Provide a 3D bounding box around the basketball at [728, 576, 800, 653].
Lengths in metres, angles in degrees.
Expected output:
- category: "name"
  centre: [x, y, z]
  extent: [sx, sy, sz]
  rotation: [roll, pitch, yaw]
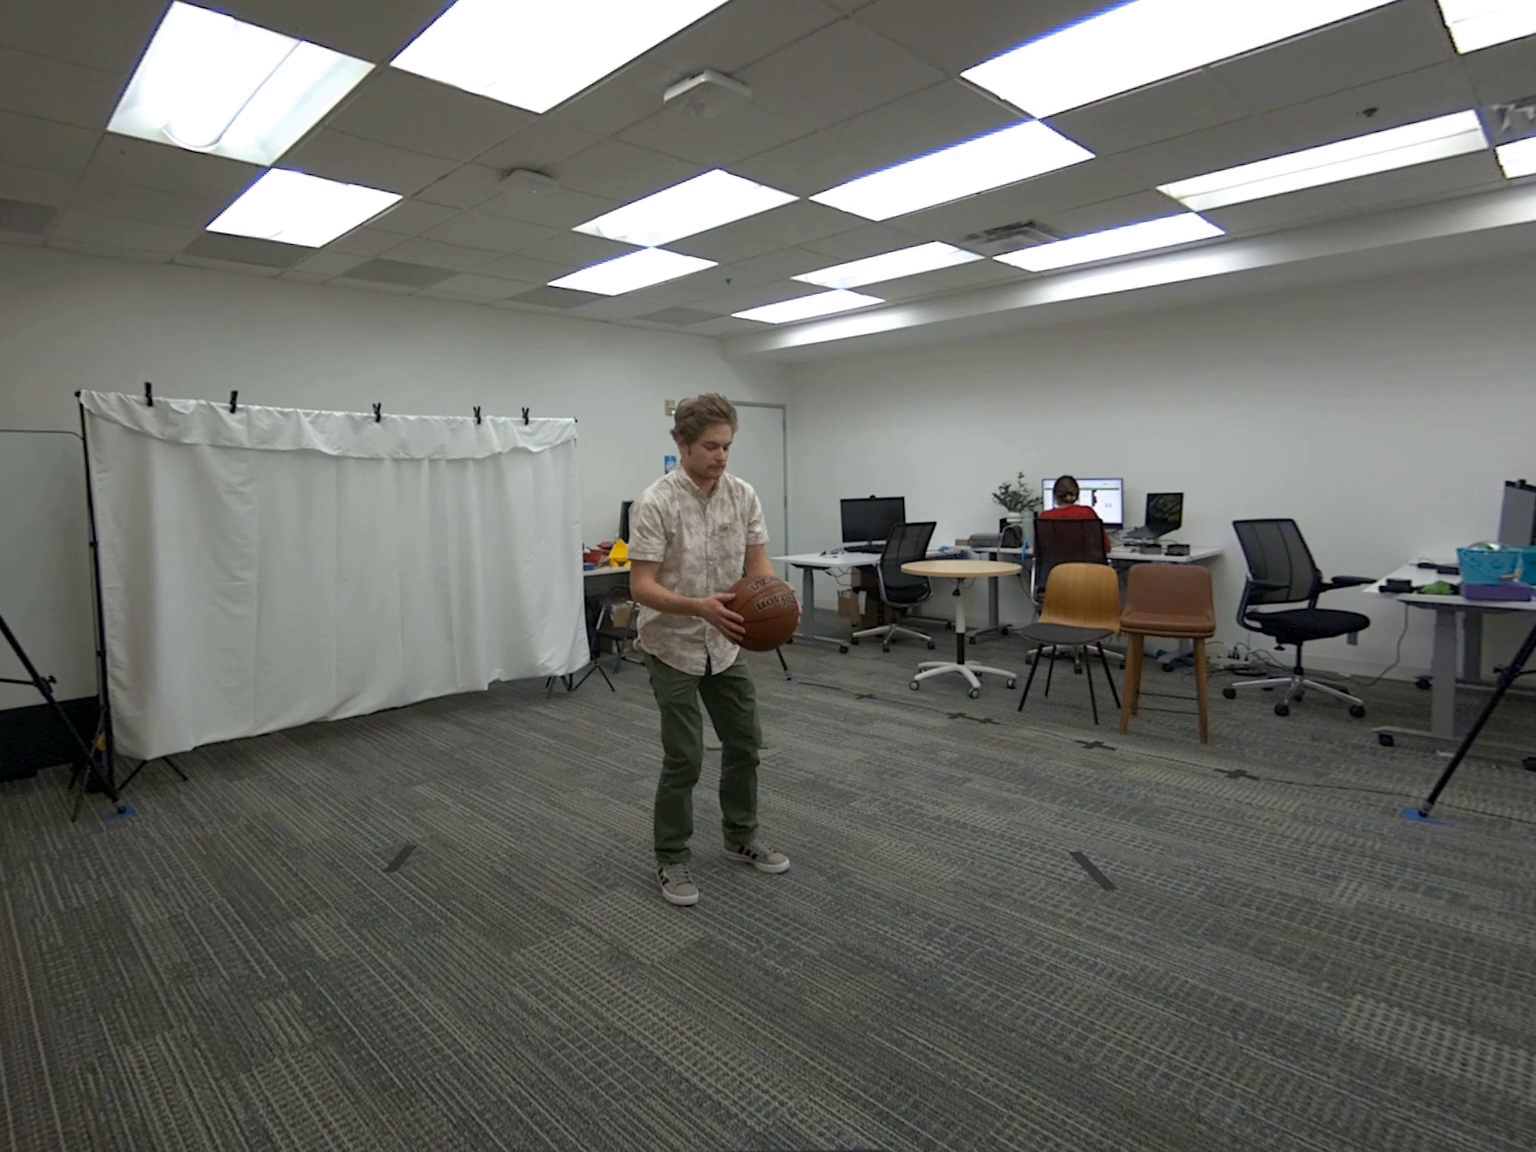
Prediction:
- category: "basketball"
  centre: [-0.021, 0.118, 2.623]
  extent: [0.236, 0.235, 0.237]
  rotation: [-1, 5, -2]
